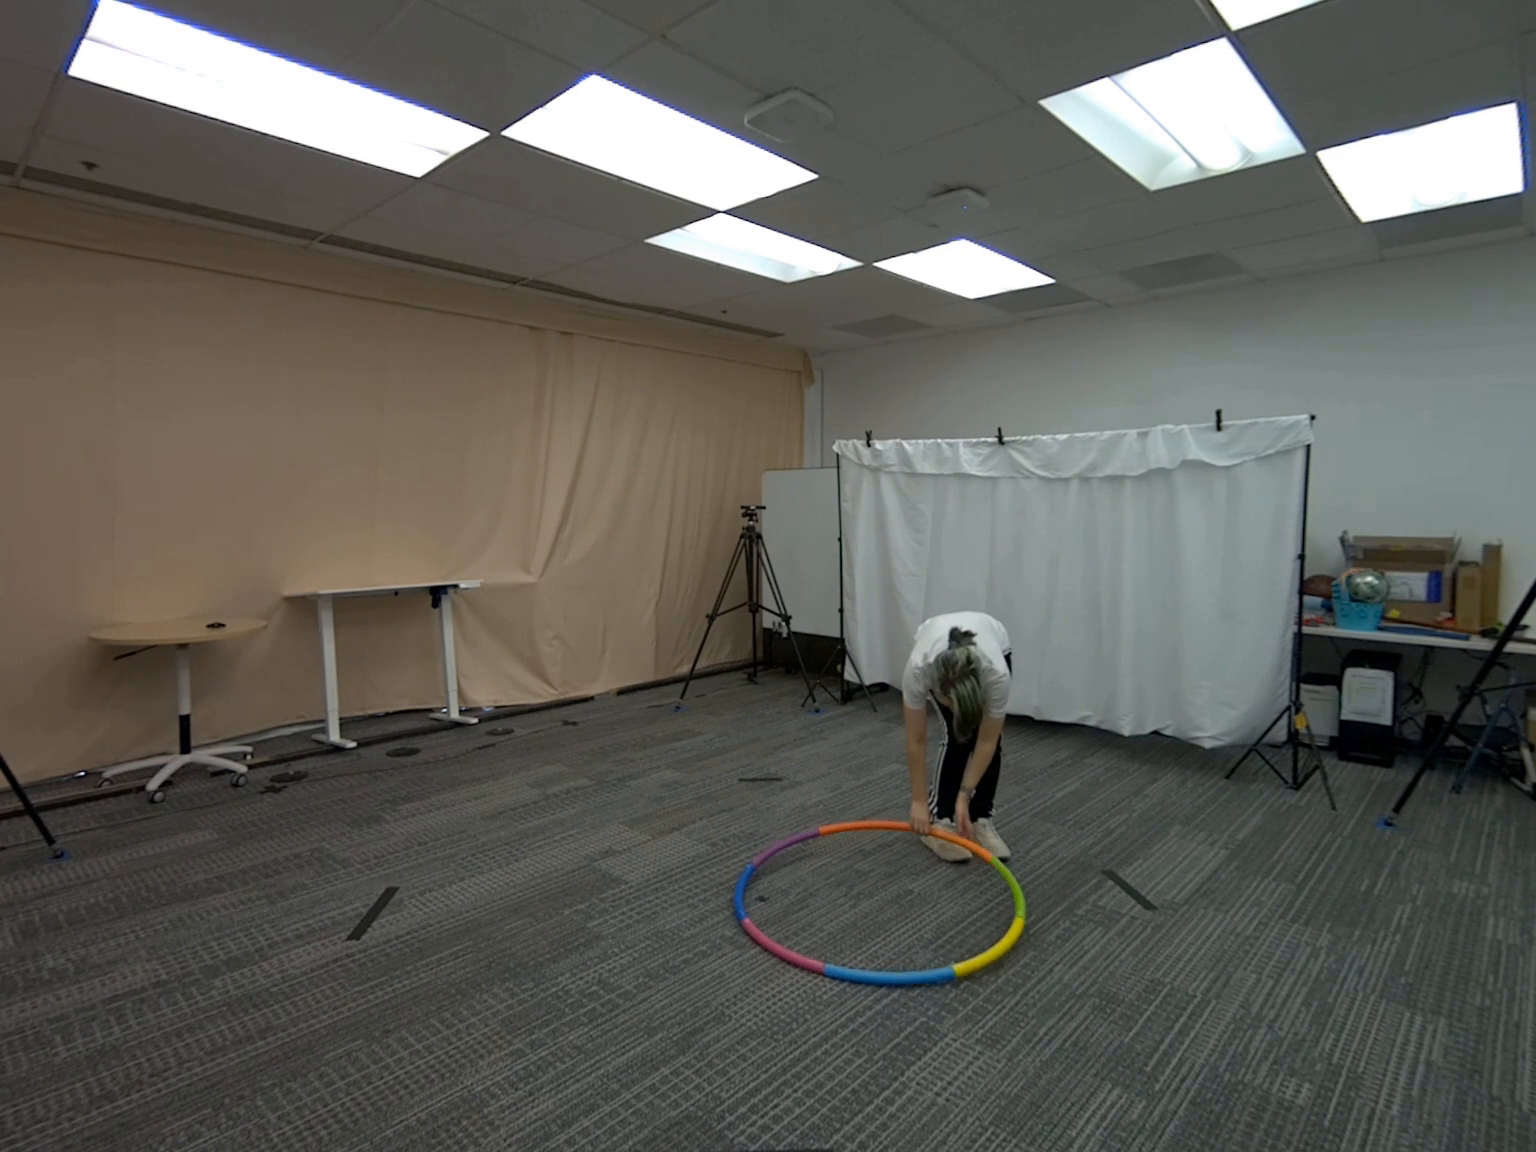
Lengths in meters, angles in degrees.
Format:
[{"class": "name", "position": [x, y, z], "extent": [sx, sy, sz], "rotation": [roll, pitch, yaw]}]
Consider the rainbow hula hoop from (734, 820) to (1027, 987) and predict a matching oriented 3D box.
[{"class": "rainbow hula hoop", "position": [0.372, 1.076, 2.911], "extent": [0.978, 0.035, 0.985], "rotation": [-4, 9, -1]}]
